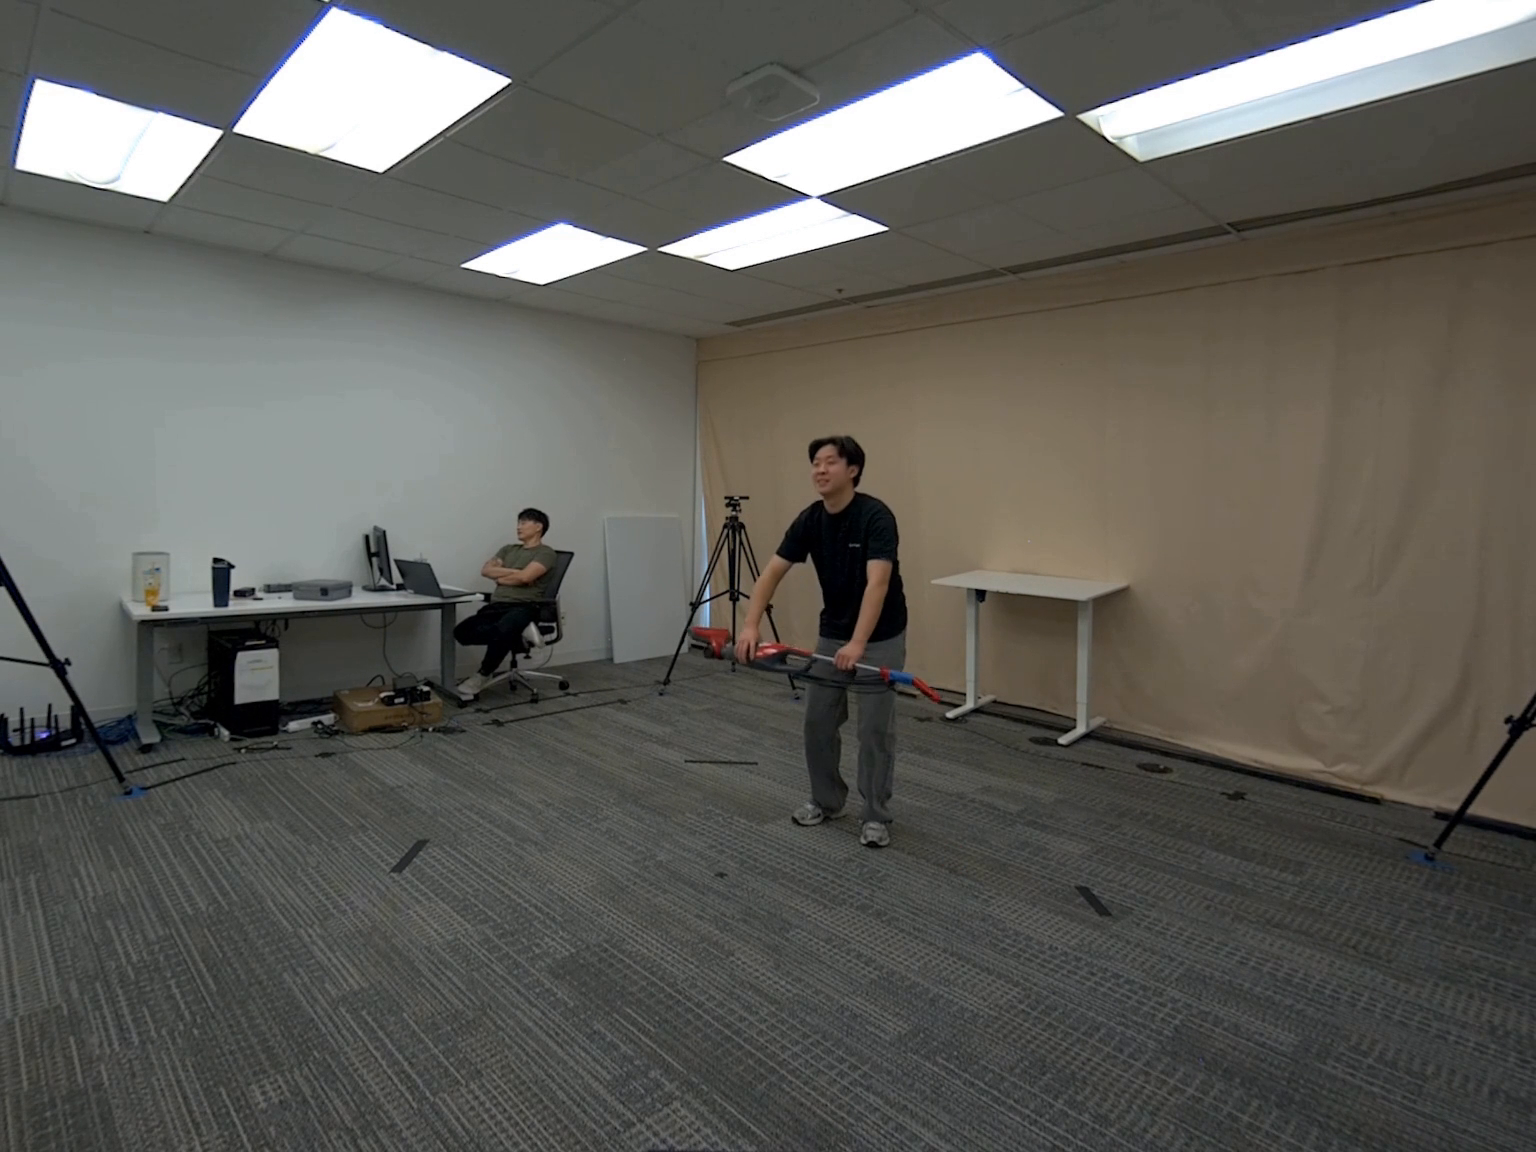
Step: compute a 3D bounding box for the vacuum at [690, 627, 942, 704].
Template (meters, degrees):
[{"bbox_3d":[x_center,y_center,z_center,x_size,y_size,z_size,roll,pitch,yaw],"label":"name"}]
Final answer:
[{"bbox_3d":[0.157,0.358,3.209,1.078,0.144,0.246,10,0,42],"label":"vacuum"}]
